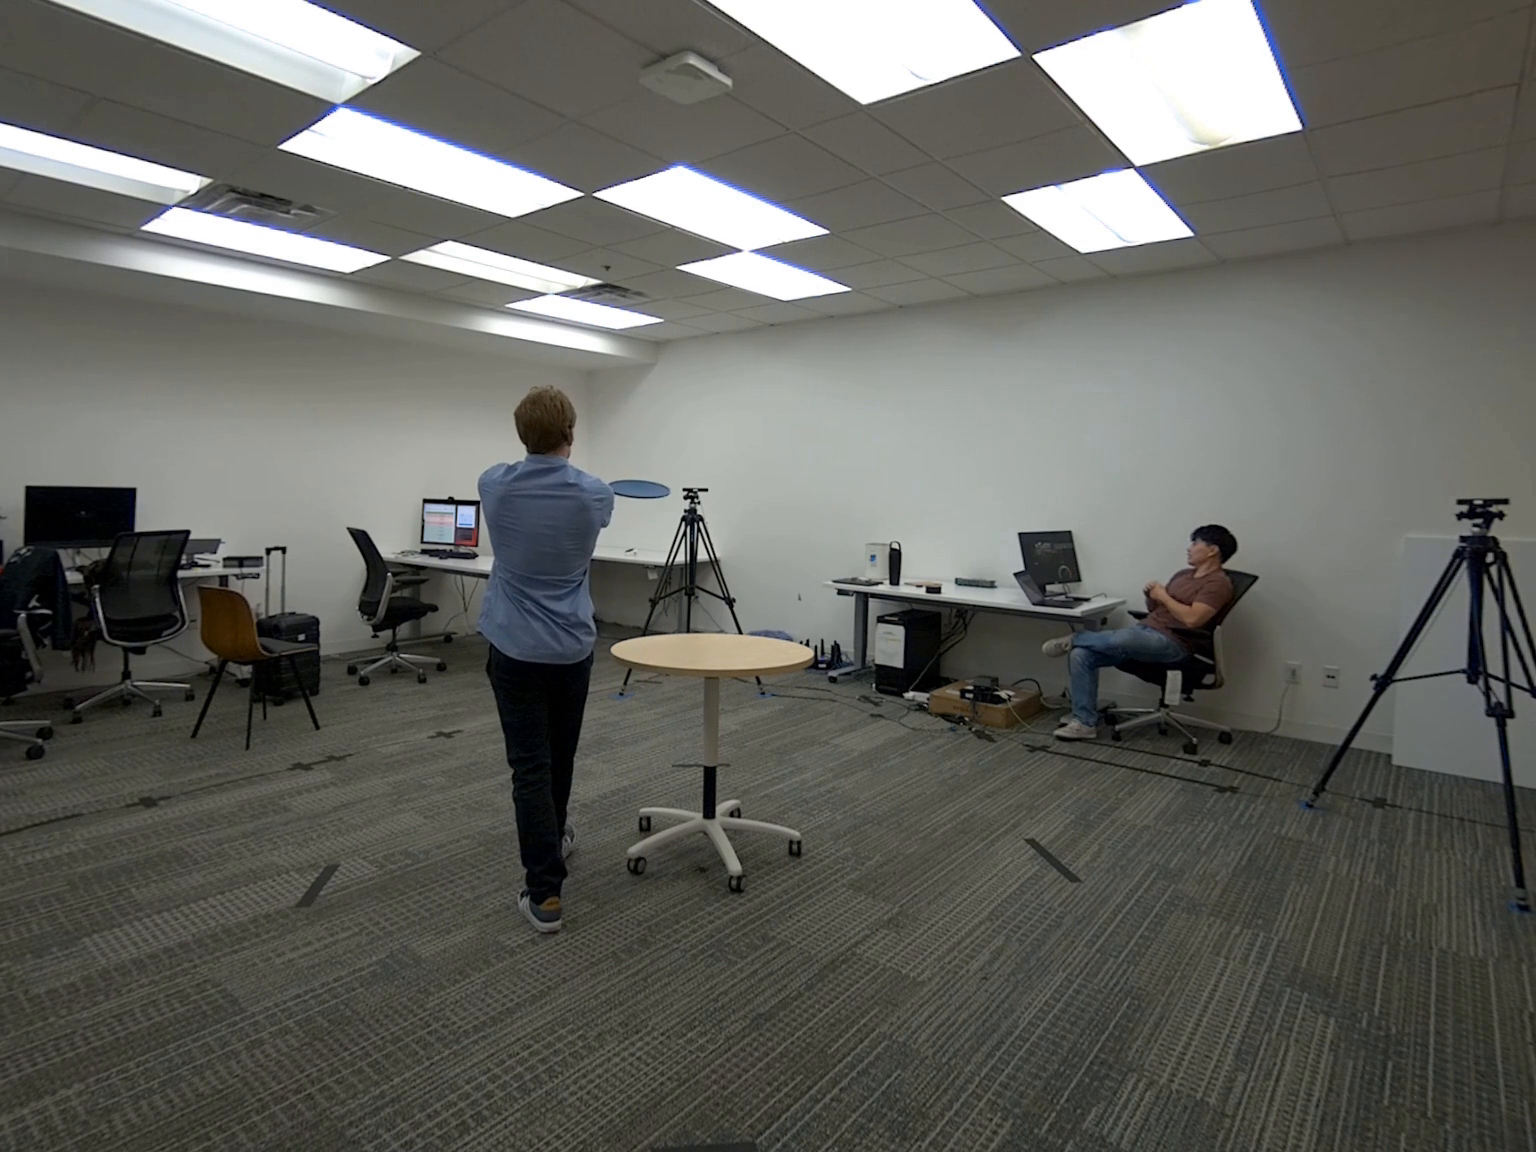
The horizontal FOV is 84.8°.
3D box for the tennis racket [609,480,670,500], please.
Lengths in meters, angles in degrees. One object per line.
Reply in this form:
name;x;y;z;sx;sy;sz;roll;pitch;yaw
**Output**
tennis racket;-0.607;-0.362;3.440;0.422;0.031;0.223;-4;26;-28
